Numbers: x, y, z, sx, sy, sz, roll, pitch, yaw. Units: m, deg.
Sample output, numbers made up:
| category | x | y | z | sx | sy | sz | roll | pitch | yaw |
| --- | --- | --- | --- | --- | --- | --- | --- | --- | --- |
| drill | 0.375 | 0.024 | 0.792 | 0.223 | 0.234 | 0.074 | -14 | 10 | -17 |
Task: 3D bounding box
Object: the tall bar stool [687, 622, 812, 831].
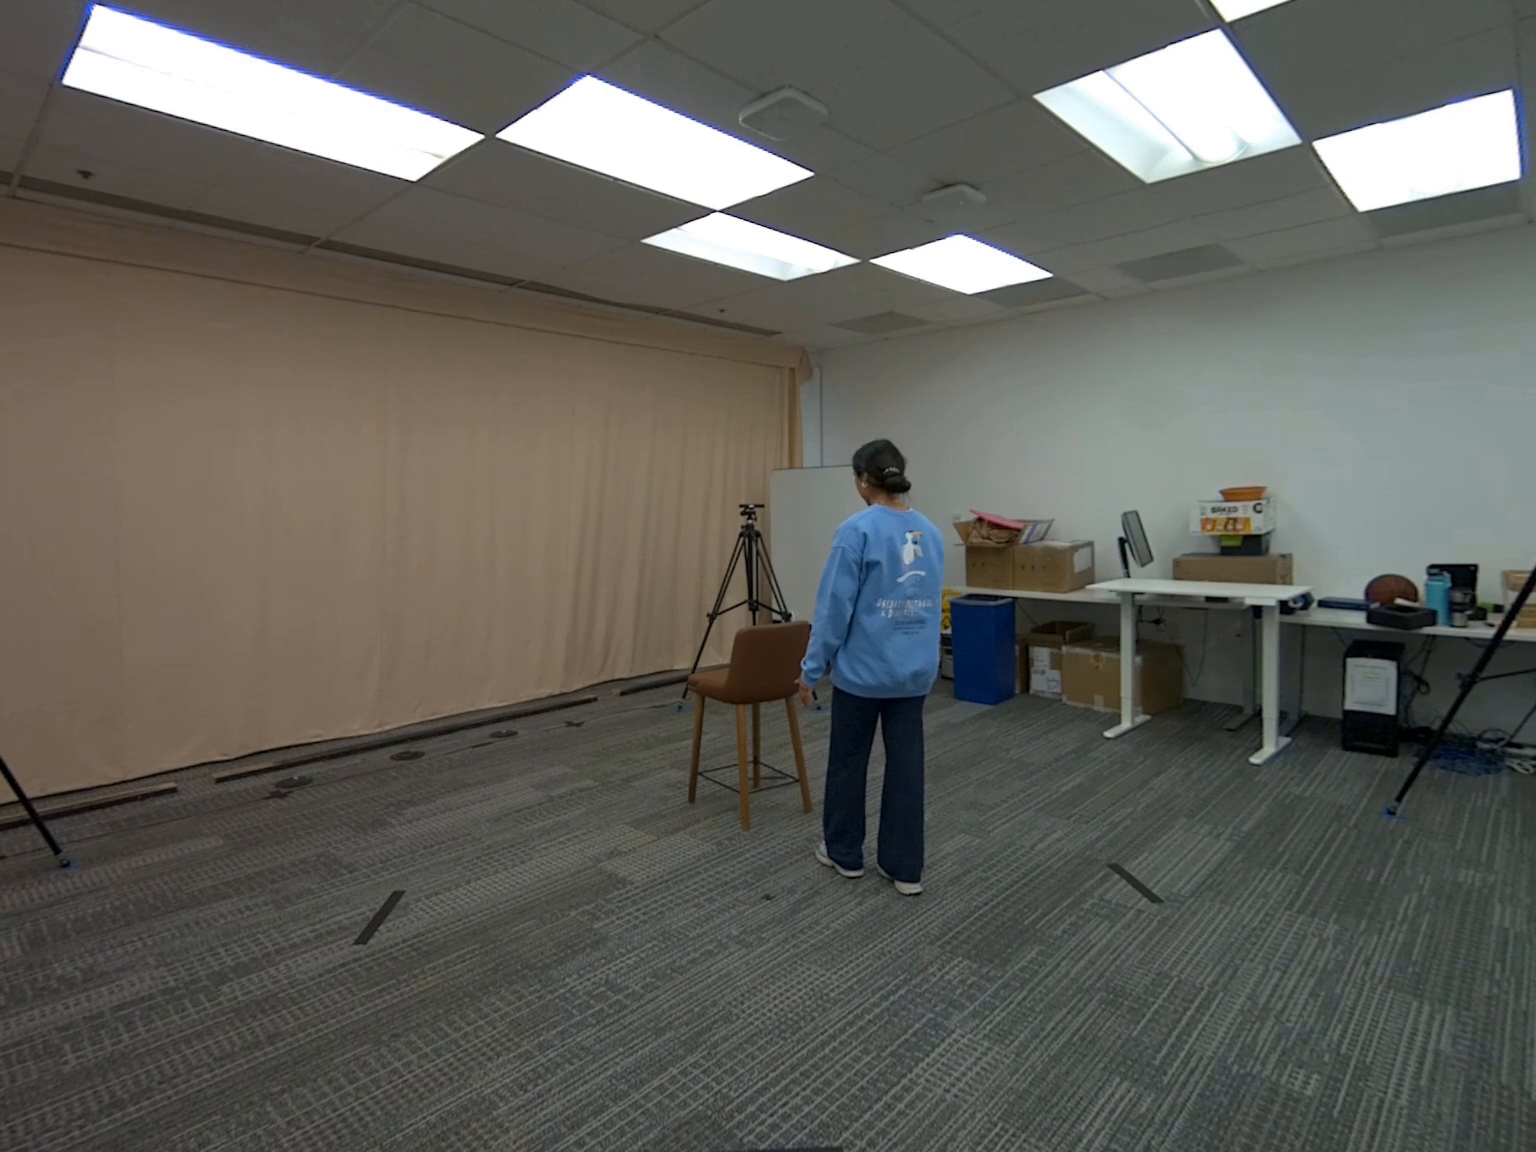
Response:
| category | x | y | z | sx | sy | sz | roll | pitch | yaw |
| --- | --- | --- | --- | --- | --- | --- | --- | --- | --- |
| tall bar stool | -0.088 | 0.626 | 3.858 | 0.443 | 0.887 | 0.483 | -3 | 6 | -35 |
